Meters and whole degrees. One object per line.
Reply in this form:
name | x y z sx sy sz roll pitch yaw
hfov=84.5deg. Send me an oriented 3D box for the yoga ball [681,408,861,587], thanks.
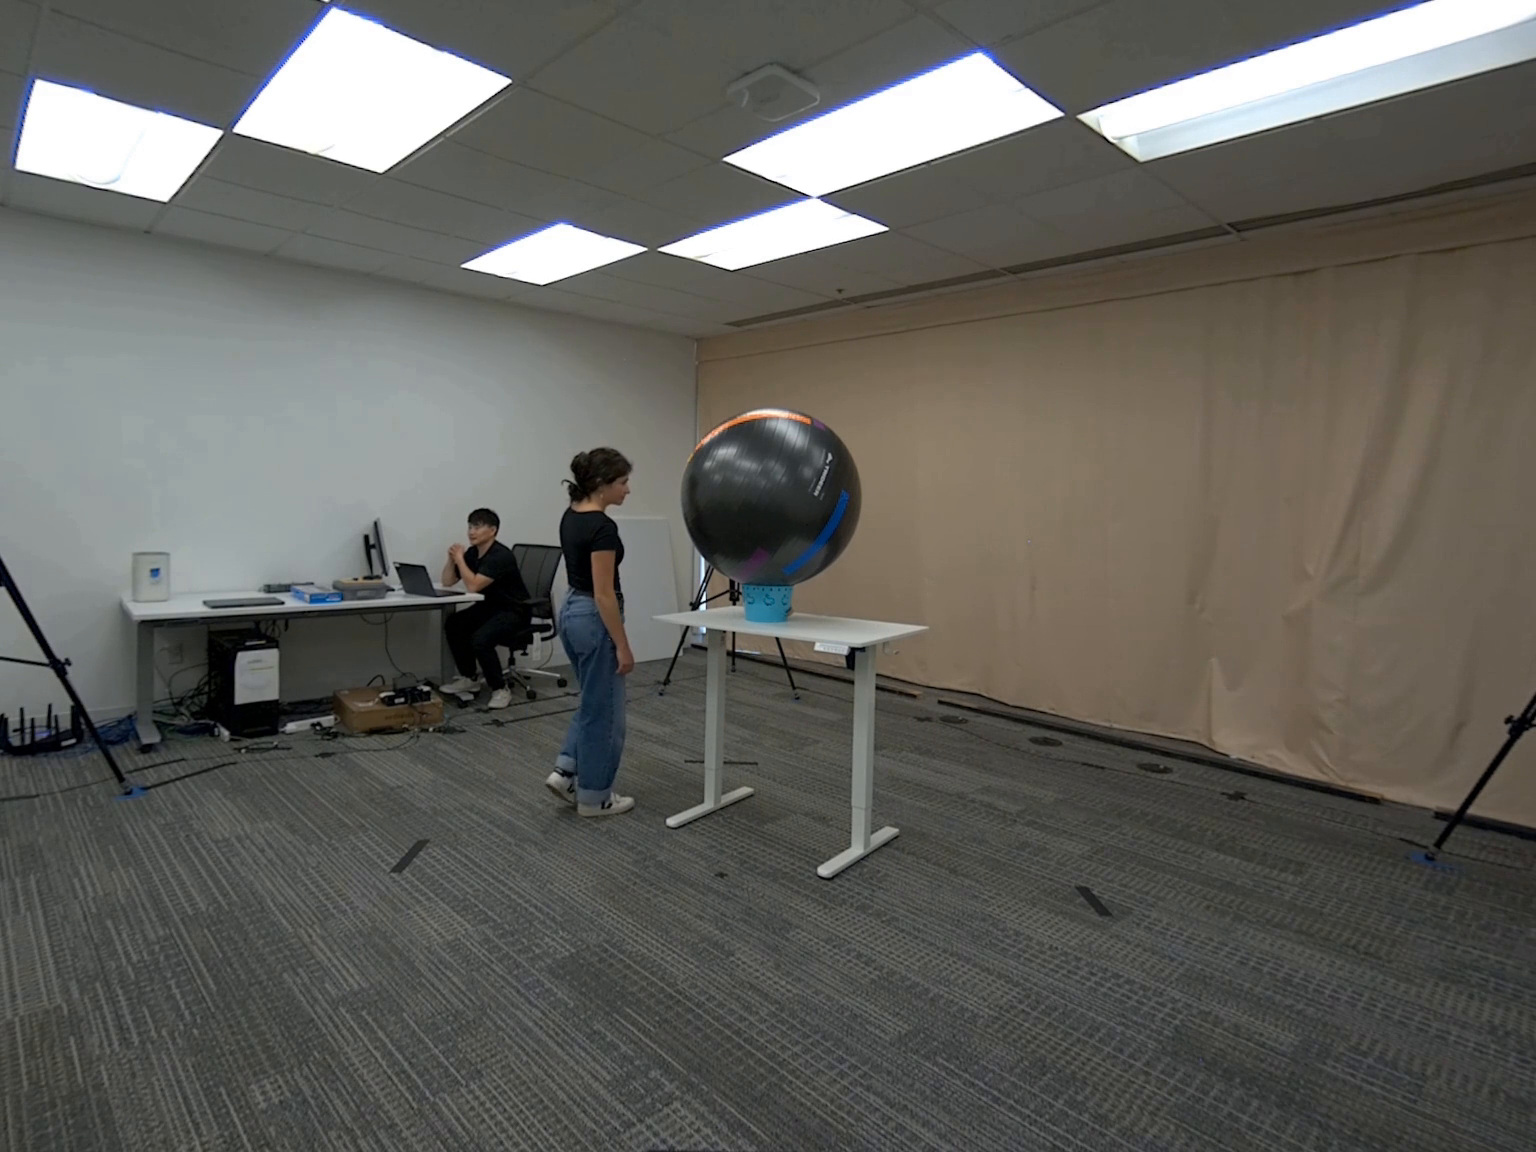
yoga ball | 0.007 -0.324 3.556 0.757 0.756 0.761 1 4 -1
